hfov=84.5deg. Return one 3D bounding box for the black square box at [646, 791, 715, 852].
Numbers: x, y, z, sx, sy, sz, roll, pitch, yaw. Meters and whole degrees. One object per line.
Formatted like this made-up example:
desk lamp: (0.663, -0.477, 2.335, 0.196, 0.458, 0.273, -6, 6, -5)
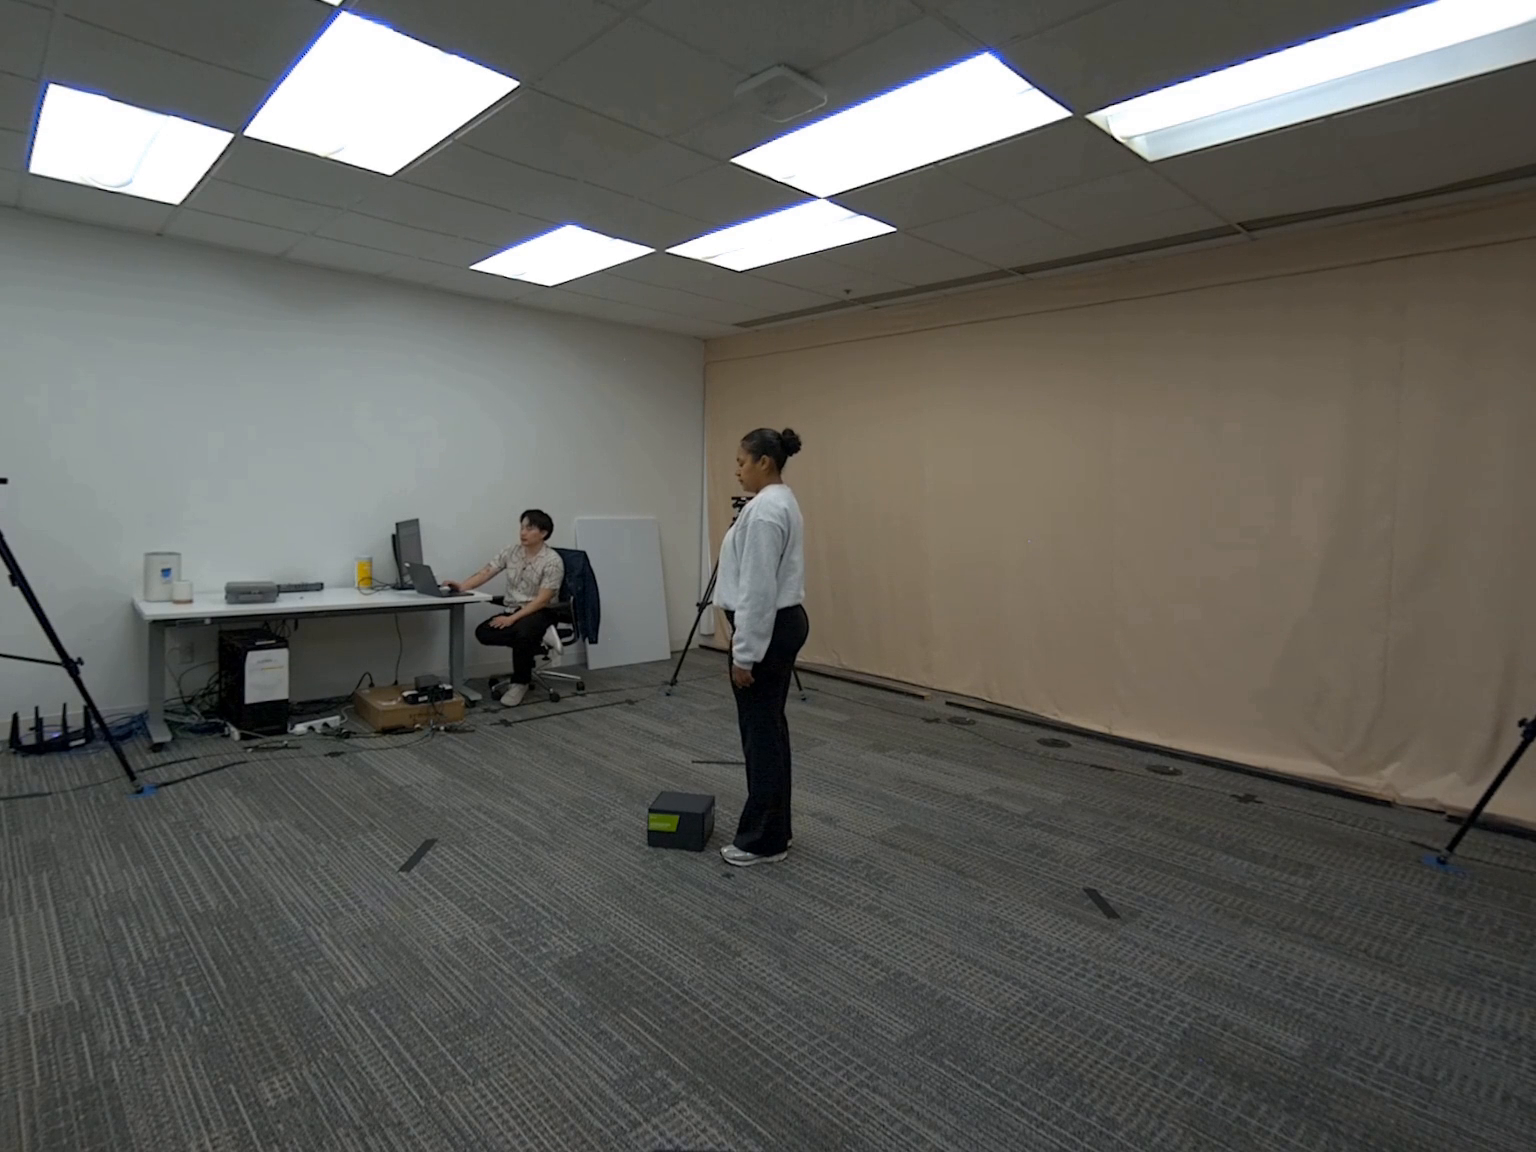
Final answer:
black square box: (-0.354, 0.980, 3.425, 0.230, 0.155, 0.215, 2, 4, 9)
